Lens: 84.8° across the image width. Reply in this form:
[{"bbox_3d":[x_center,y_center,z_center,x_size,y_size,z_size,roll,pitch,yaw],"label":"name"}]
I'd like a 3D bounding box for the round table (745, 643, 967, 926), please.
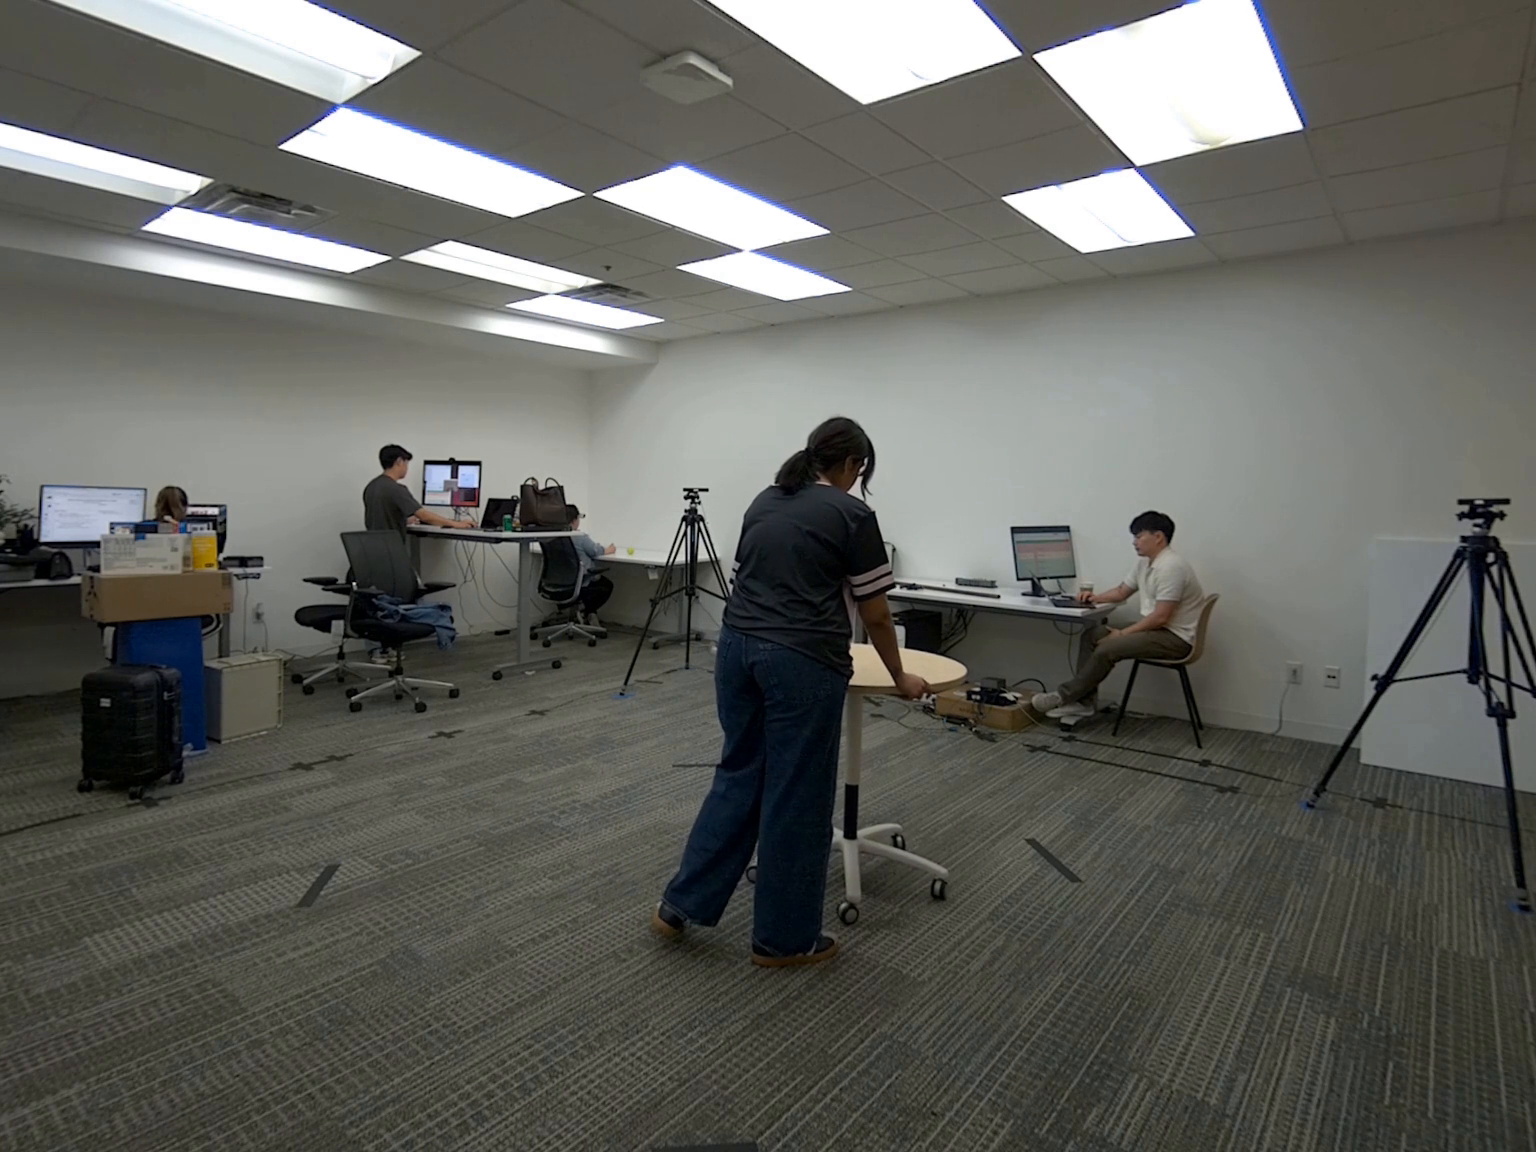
[{"bbox_3d":[0.288,0.691,3.056,0.784,0.784,0.789,1,4,-2],"label":"round table"}]
